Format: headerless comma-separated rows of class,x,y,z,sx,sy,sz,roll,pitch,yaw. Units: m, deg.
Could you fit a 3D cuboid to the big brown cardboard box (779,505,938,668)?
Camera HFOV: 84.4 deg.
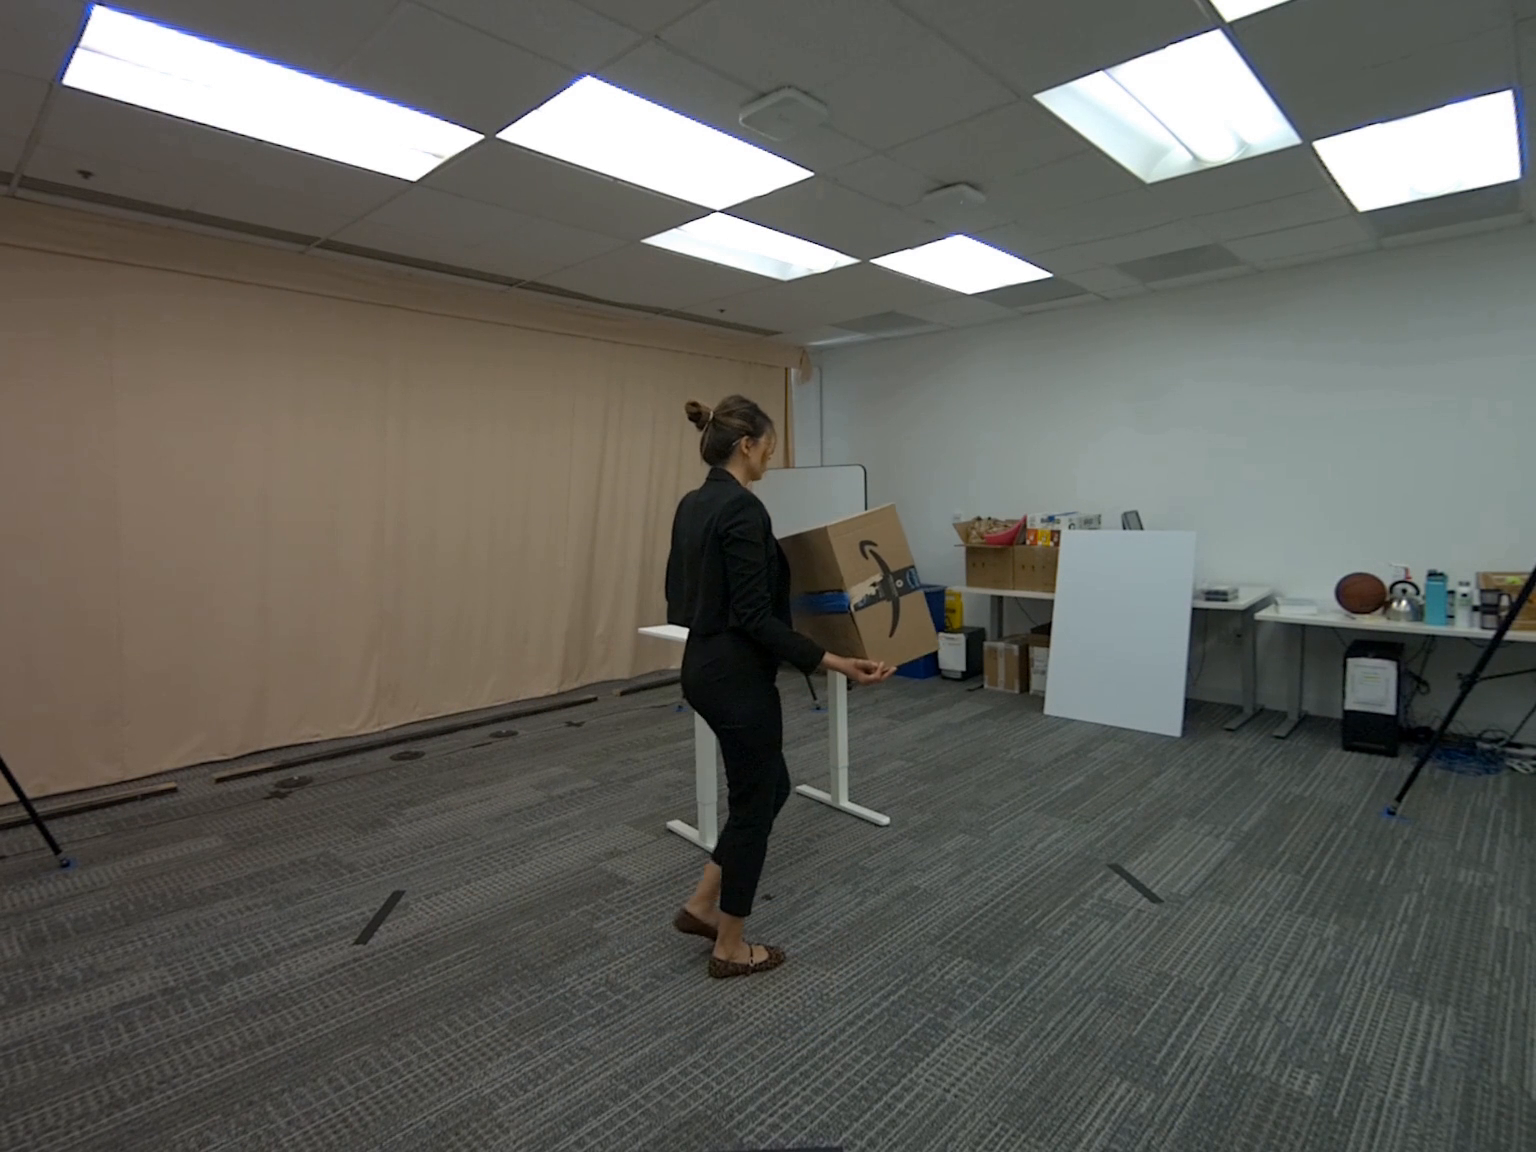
big brown cardboard box,0.217,0.050,2.498,0.230,0.417,0.598,-17,1,-19
